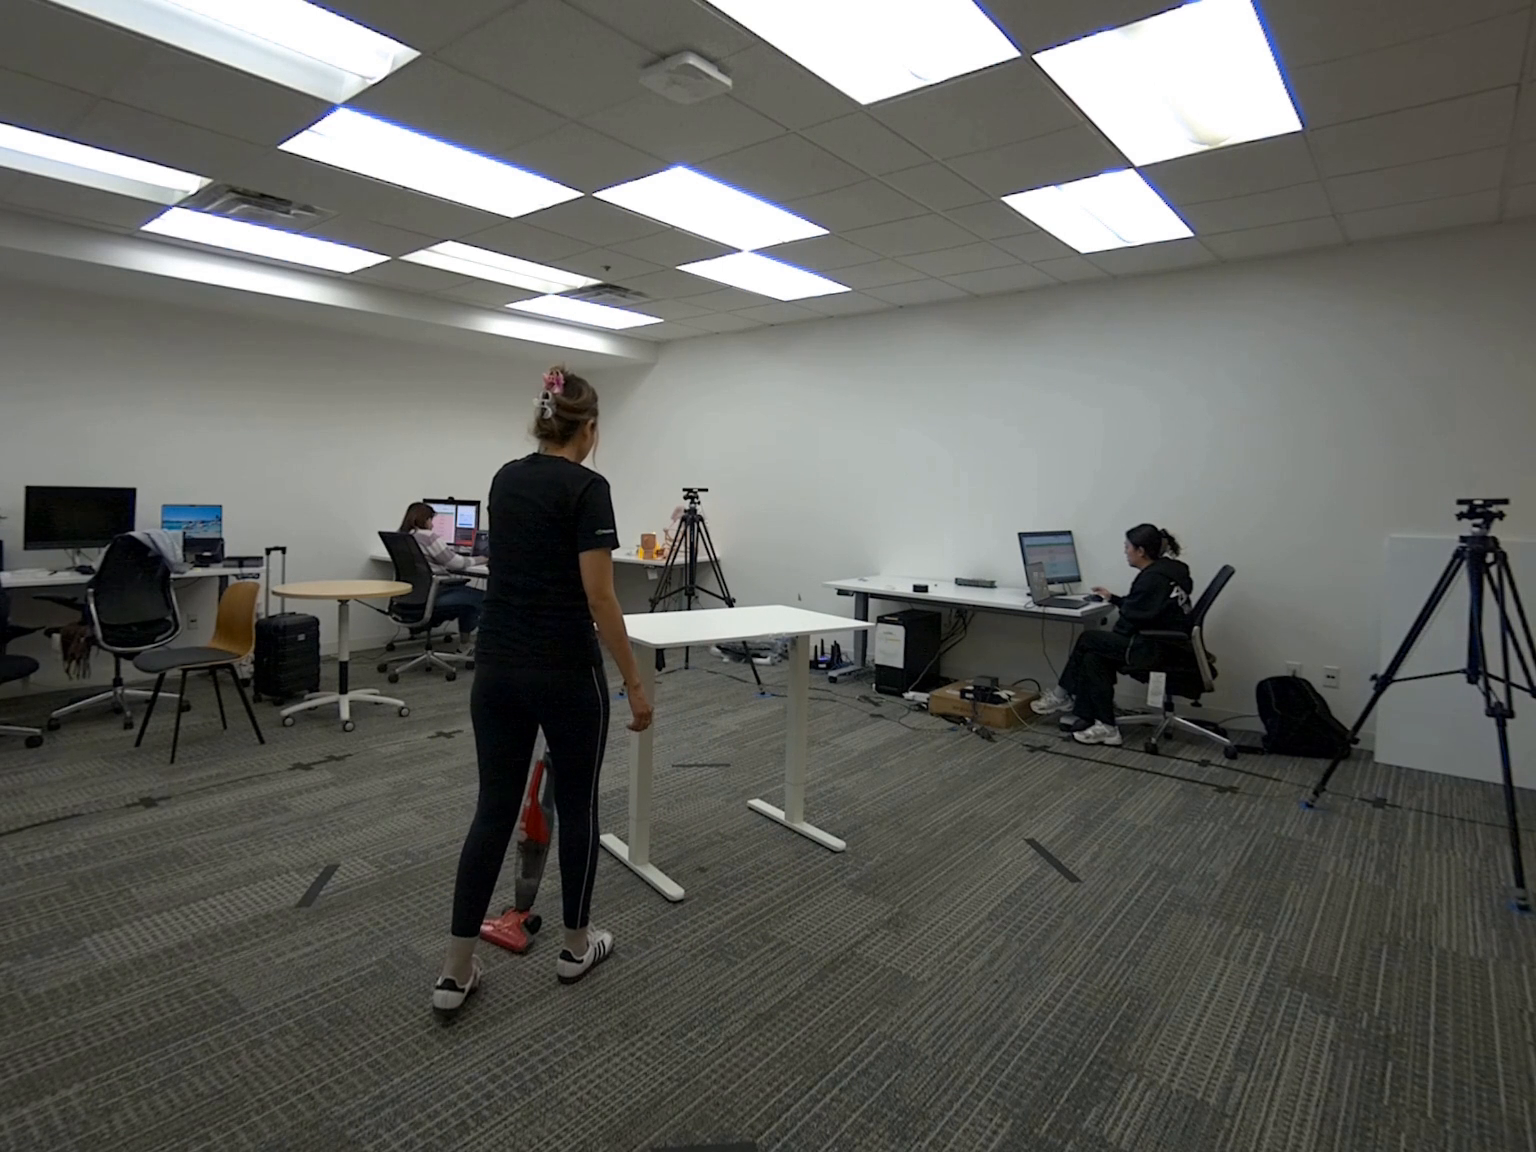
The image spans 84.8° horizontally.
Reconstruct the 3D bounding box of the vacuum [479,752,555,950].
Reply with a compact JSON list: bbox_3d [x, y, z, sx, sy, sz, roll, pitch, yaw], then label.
[{"bbox_3d":[-0.730,0.604,2.782,0.259,1.062,0.138,0,-18,28],"label":"vacuum"}]
